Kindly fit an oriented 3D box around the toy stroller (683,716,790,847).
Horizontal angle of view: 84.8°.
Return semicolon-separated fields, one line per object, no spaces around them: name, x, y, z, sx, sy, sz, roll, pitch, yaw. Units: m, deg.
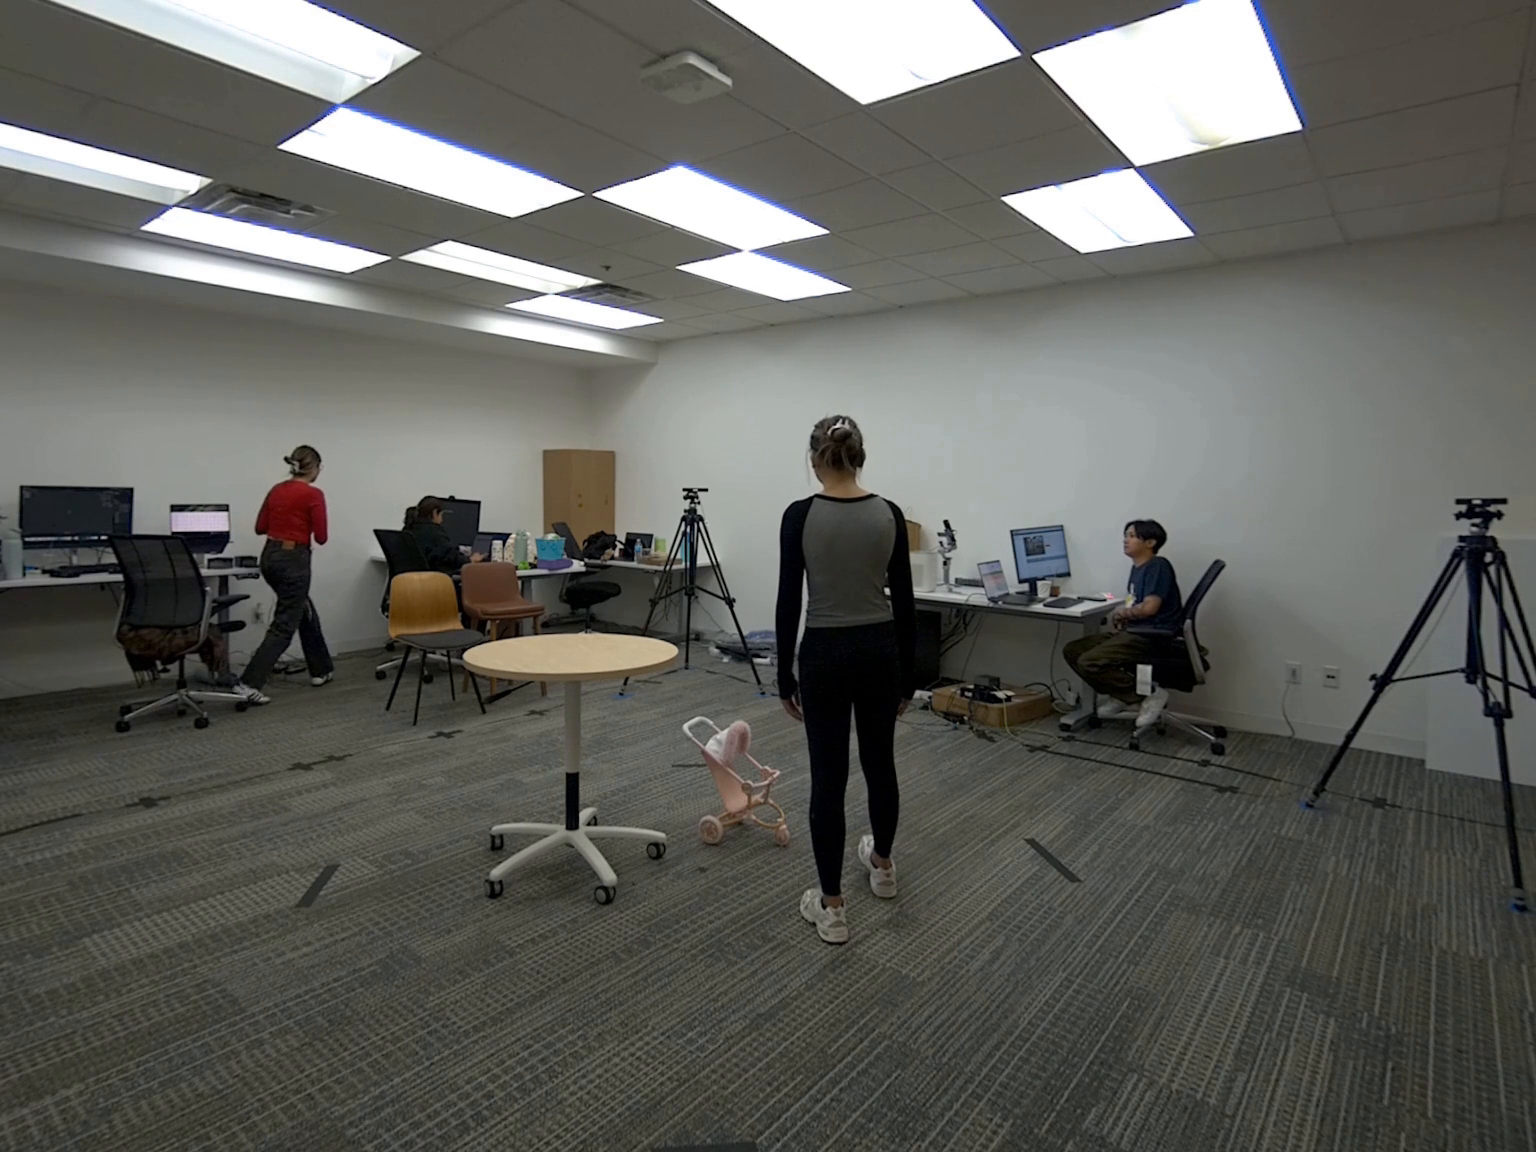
toy stroller;-0.123;0.816;3.407;0.348;0.537;0.275;-14;-3;28
